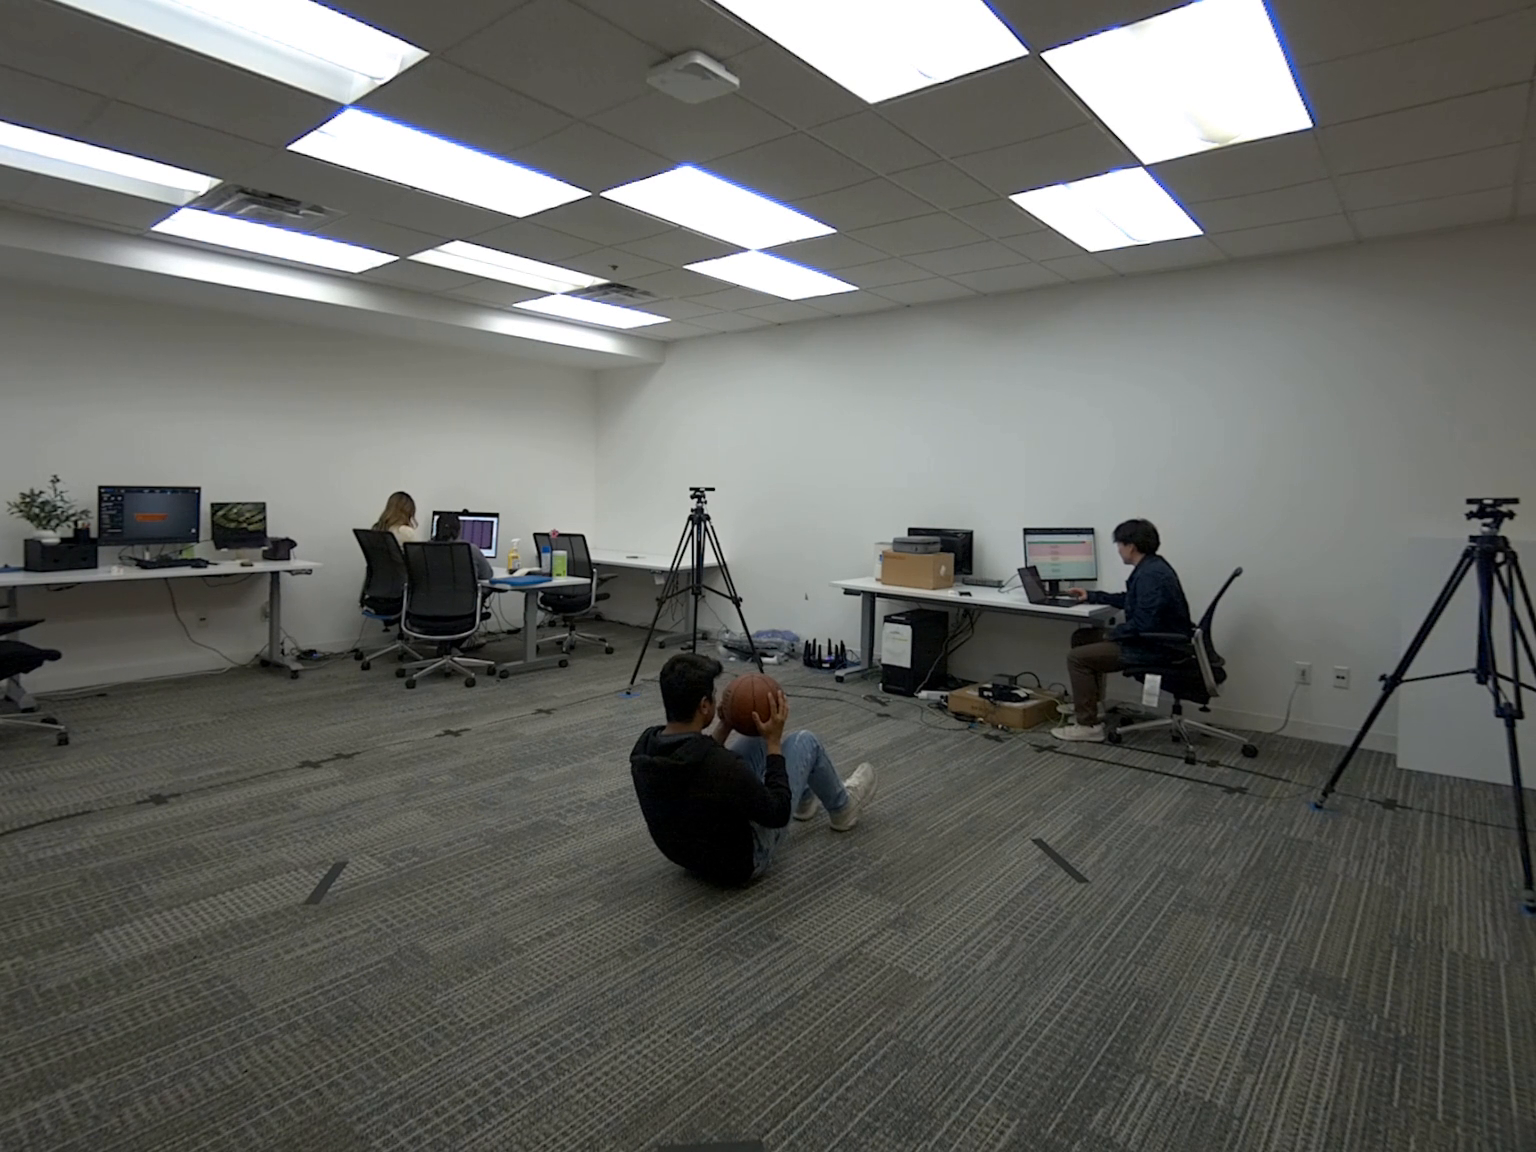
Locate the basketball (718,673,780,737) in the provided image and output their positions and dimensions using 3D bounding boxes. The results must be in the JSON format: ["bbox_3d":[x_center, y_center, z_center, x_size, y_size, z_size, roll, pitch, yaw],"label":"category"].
[{"bbox_3d":[-0.067,0.473,3.189,0.235,0.235,0.237,1,4,-2],"label":"basketball"}]
